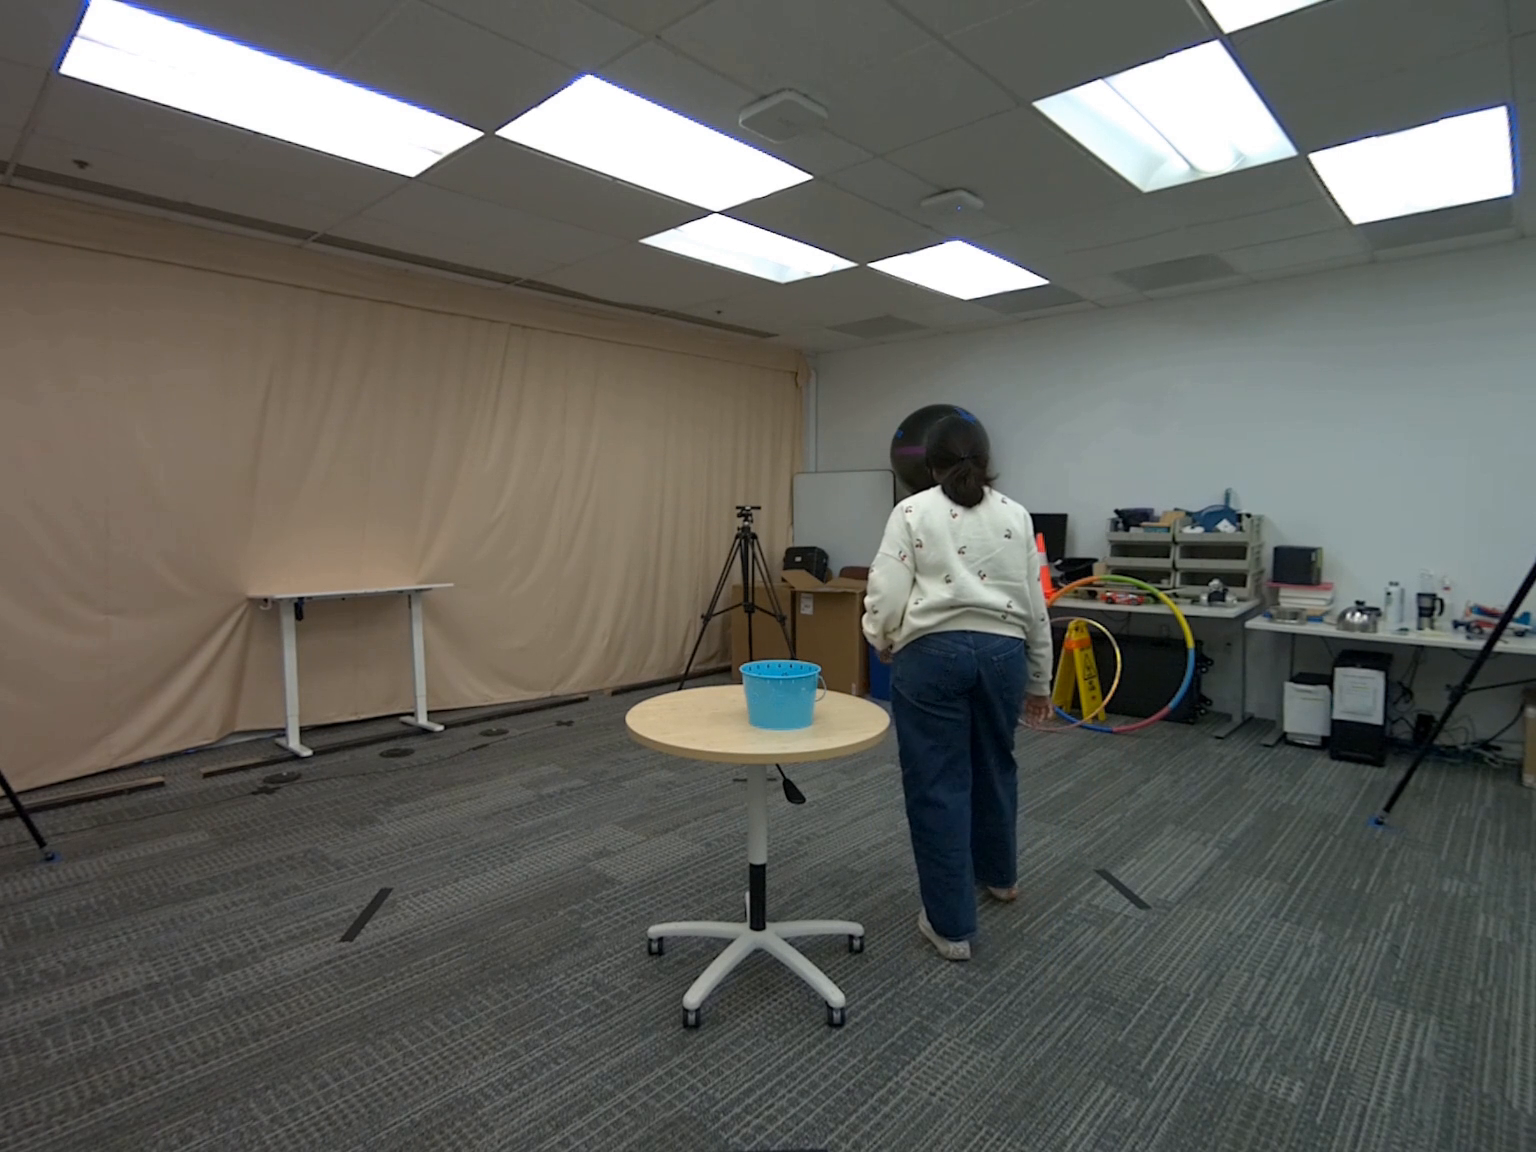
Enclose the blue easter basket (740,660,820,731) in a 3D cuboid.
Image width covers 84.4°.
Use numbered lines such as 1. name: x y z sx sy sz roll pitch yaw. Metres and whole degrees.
1. blue easter basket: 0.053 0.345 2.369 0.243 0.155 0.245 -1 6 -2
